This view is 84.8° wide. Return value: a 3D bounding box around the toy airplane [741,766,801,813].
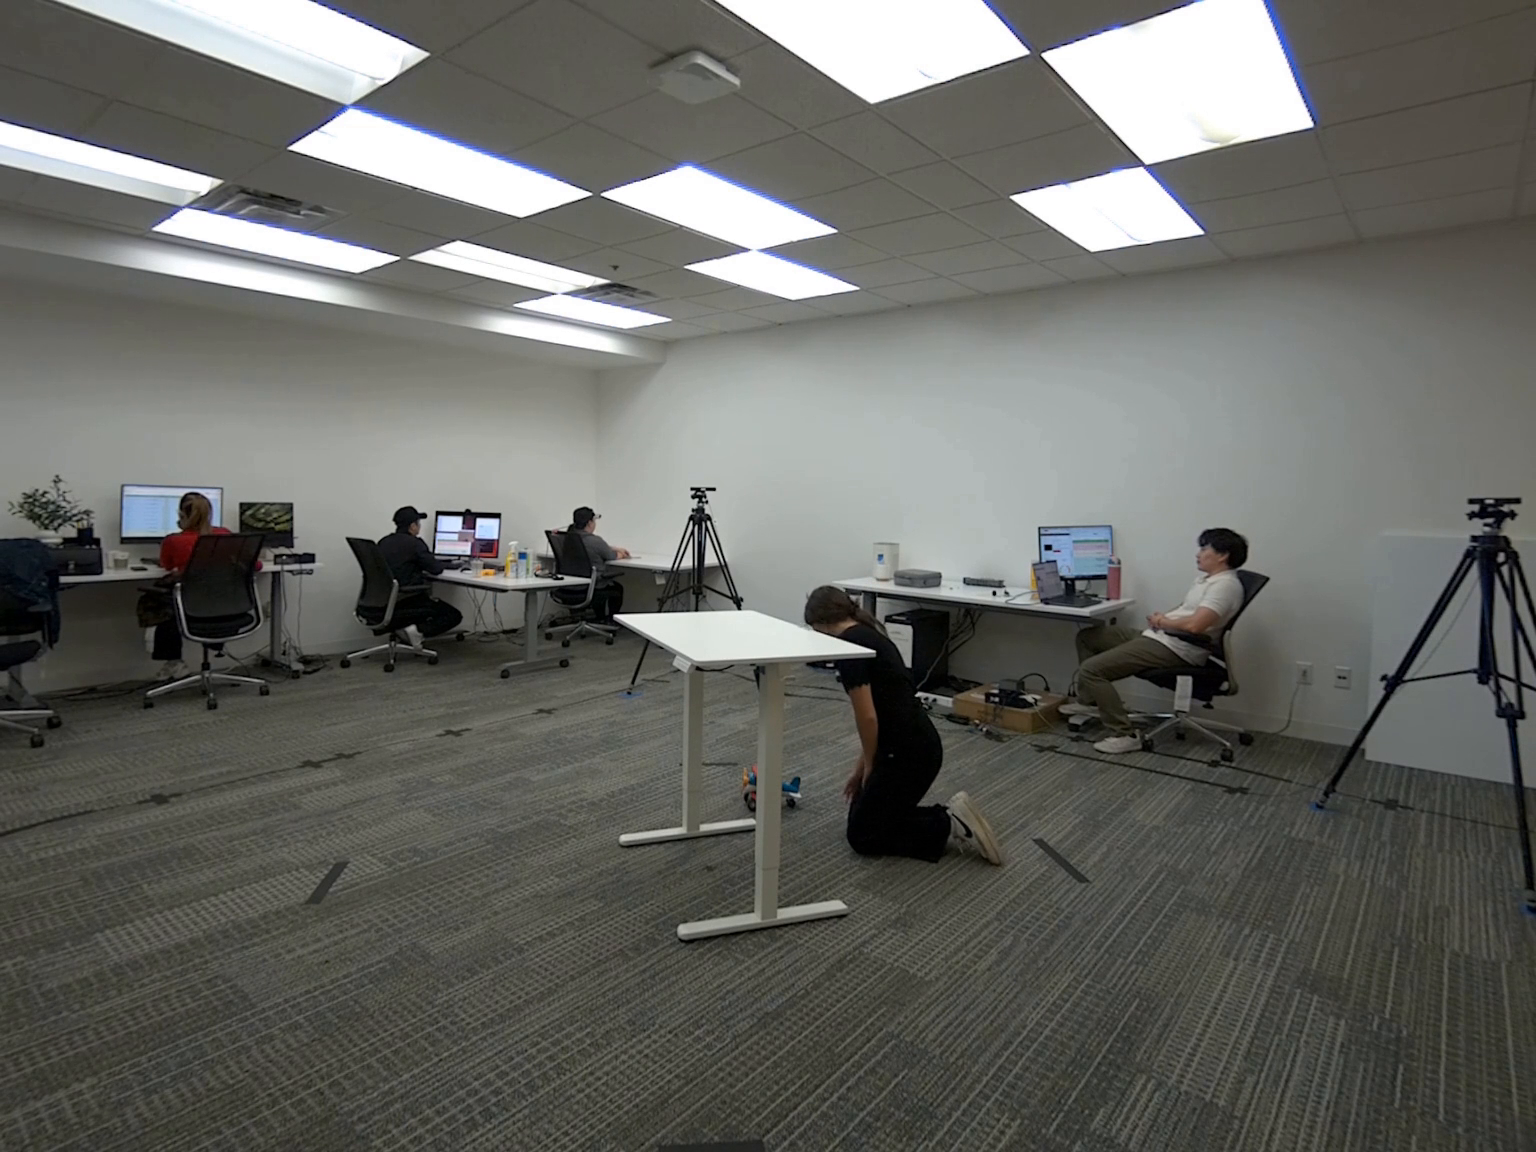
[{"bbox_3d":[-0.005,0.933,3.759,0.252,0.156,0.259,-4,6,-37],"label":"toy airplane"}]
